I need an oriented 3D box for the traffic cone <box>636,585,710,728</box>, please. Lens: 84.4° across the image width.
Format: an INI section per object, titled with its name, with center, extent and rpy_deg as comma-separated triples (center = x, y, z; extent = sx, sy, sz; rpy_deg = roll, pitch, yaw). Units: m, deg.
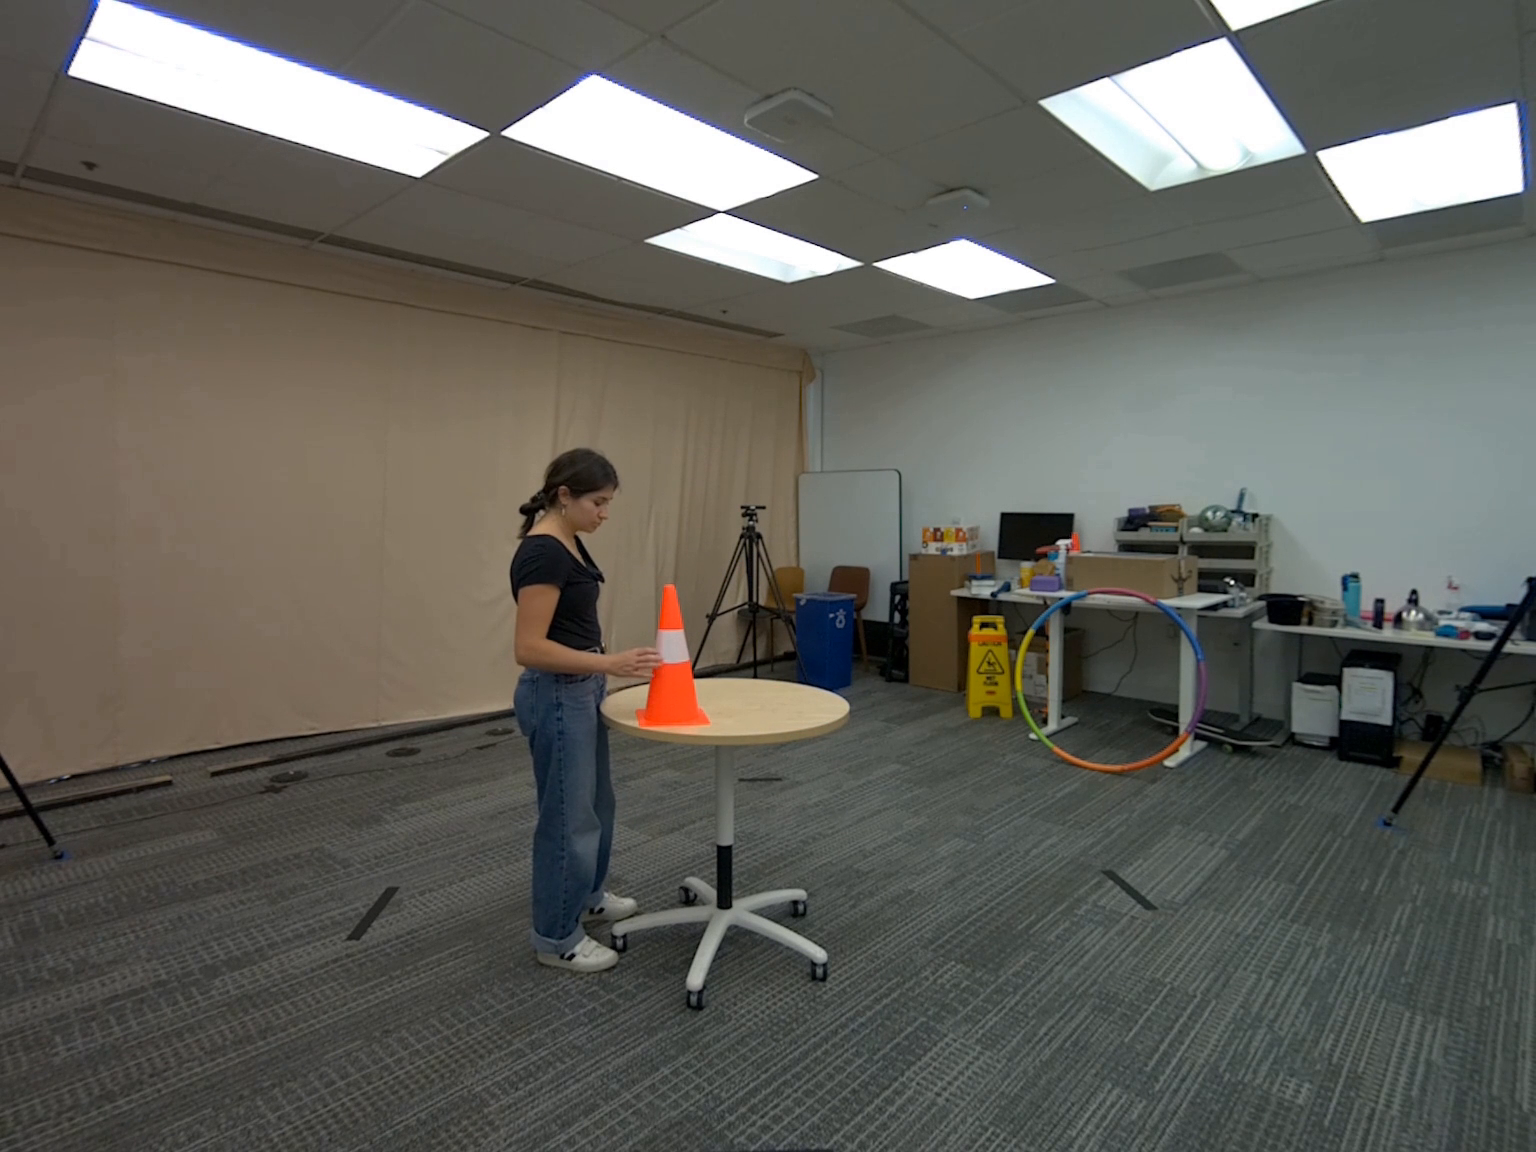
[traffic cone]
center = -0.286, 0.227, 2.393
extent = 0.203, 0.383, 0.205
rpy_deg = -4, 1, -11
